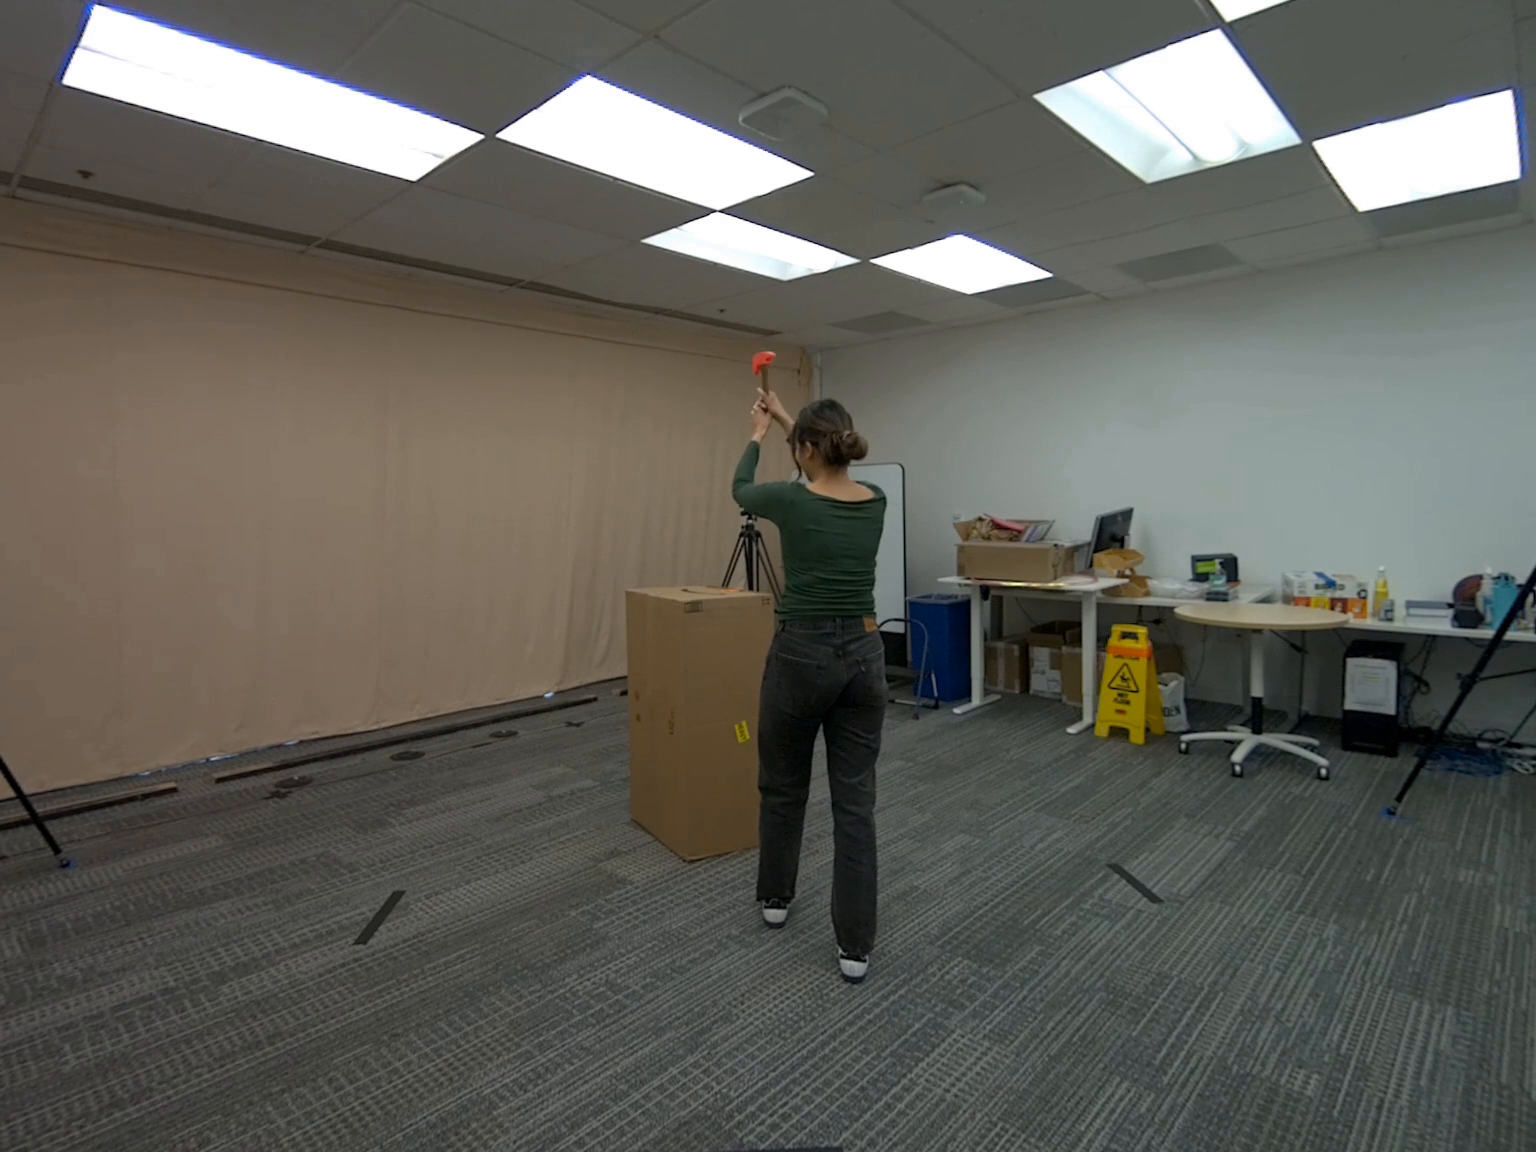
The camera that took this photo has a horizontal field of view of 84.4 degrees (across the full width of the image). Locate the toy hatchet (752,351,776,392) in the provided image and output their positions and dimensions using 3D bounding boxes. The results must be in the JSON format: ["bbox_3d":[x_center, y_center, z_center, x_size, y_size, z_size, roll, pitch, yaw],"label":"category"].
[{"bbox_3d":[-0.025,-0.643,2.925,0.029,0.267,0.136,-8,26,-35],"label":"toy hatchet"}]
